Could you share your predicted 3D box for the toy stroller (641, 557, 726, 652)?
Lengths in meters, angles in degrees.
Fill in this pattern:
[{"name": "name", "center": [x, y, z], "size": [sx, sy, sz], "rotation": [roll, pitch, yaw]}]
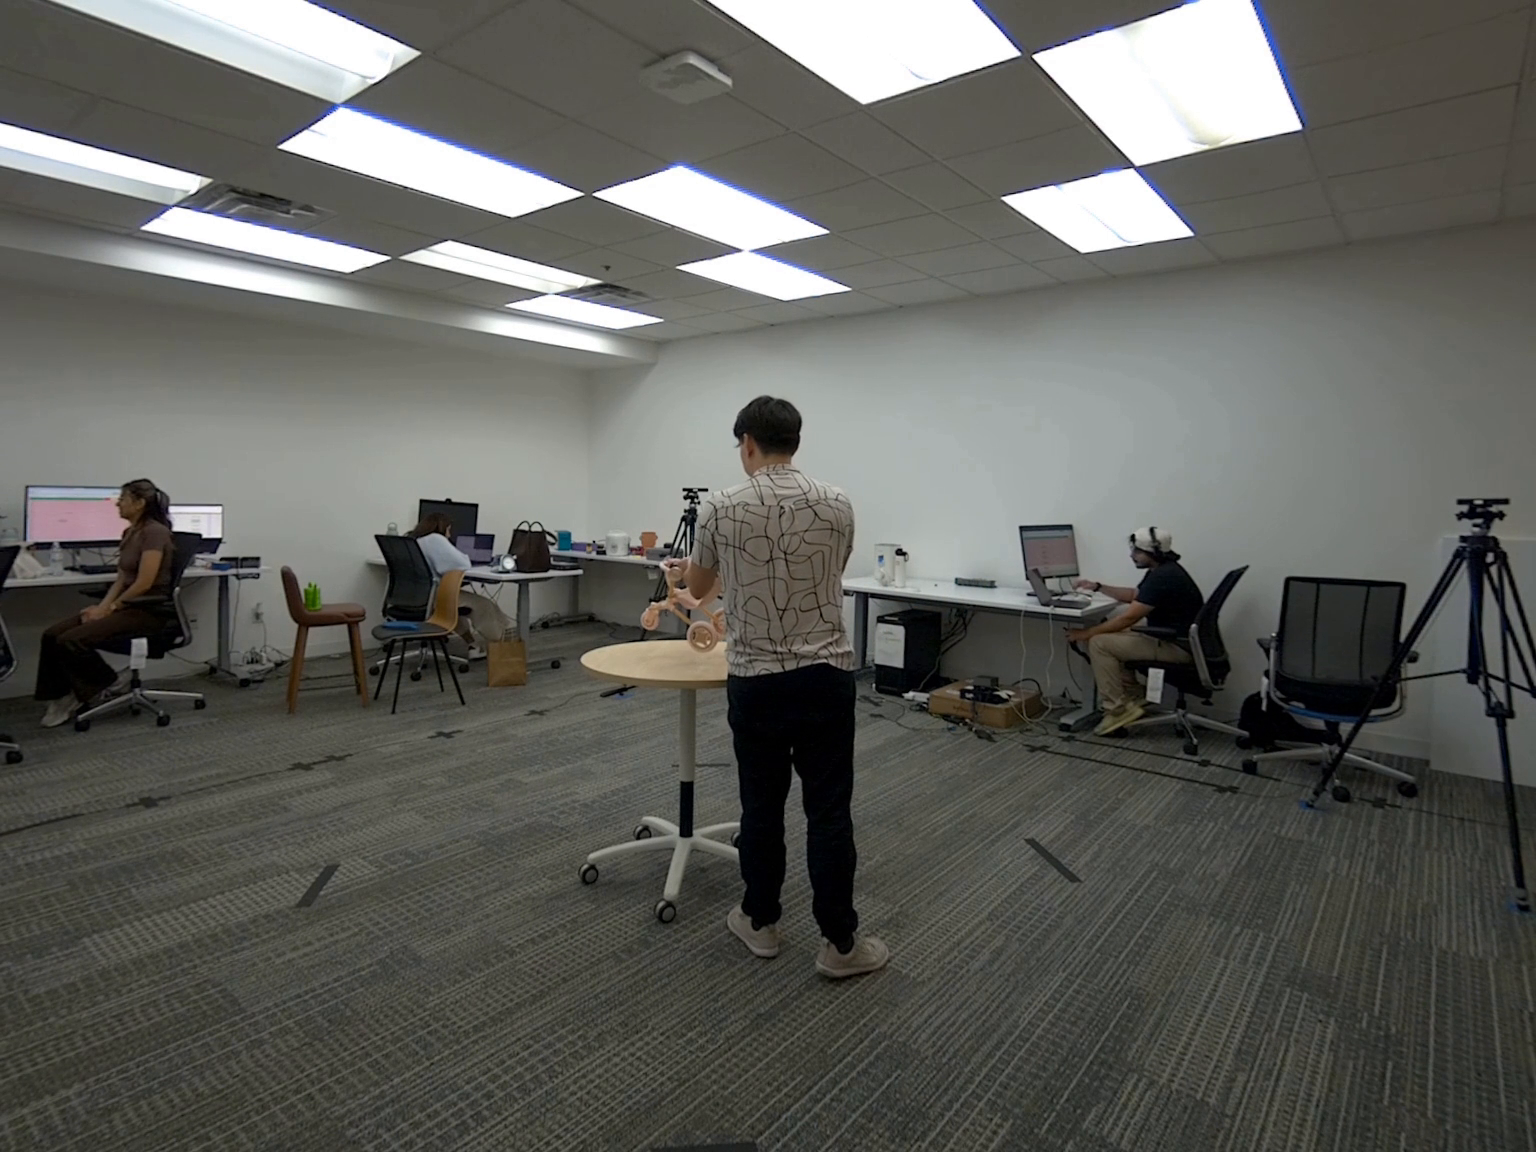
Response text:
[{"name": "toy stroller", "center": [-0.238, 0.007, 3.023], "size": [0.350, 0.532, 0.276], "rotation": [27, 13, 17]}]
